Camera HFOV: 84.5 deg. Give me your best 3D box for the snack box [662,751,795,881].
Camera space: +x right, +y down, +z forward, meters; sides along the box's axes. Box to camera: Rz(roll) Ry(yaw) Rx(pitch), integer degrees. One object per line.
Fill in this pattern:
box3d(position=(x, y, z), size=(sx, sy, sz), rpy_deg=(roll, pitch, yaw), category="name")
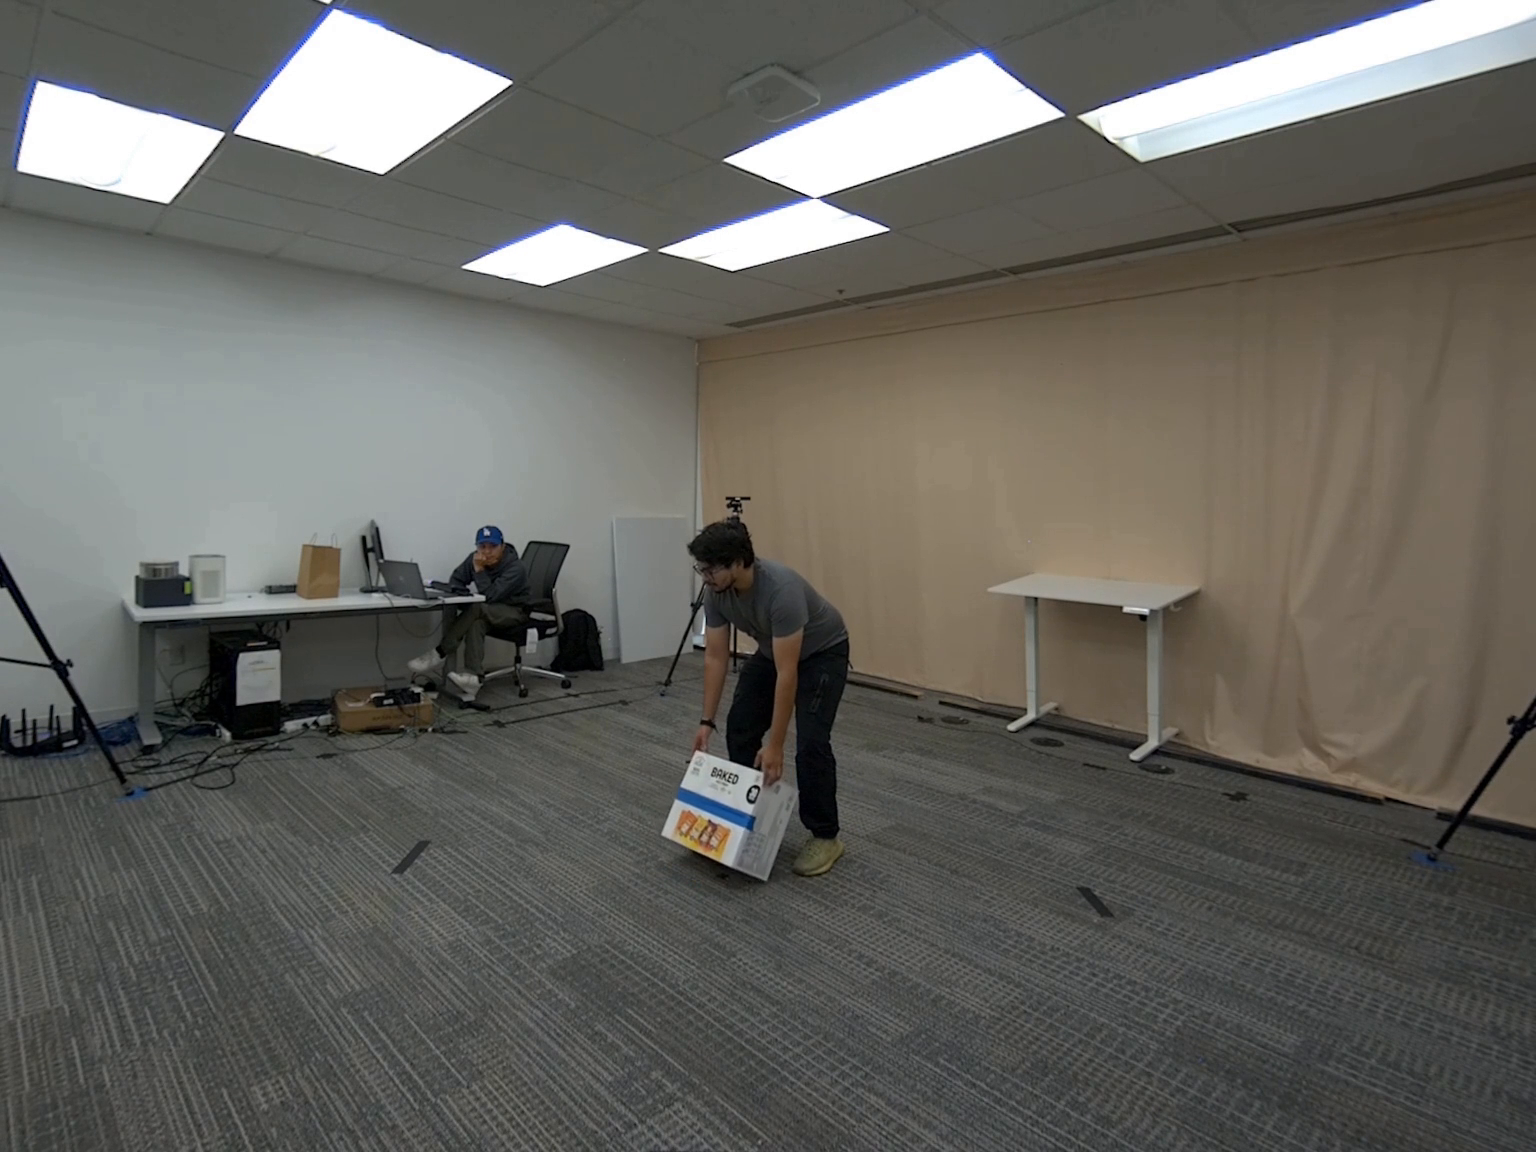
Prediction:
box3d(position=(-0.149, 0.898, 3.168), size=(0.415, 0.342, 0.199), rpy_deg=(4, -25, 46), category="snack box")
